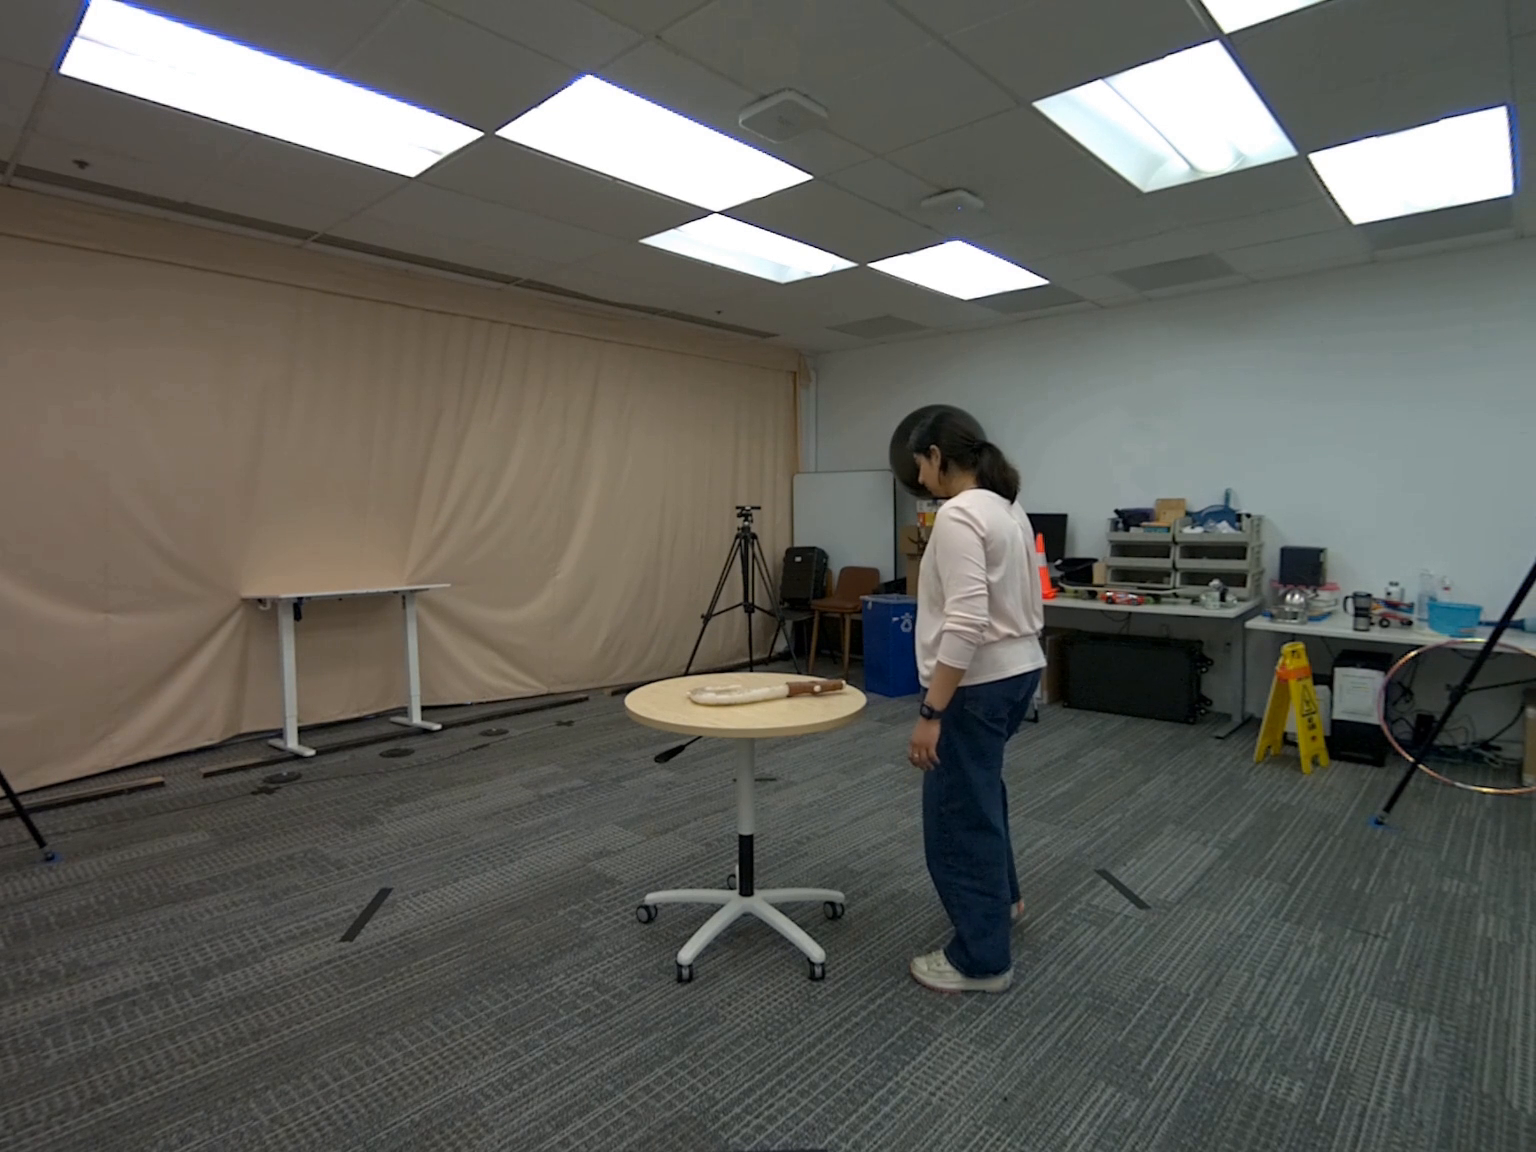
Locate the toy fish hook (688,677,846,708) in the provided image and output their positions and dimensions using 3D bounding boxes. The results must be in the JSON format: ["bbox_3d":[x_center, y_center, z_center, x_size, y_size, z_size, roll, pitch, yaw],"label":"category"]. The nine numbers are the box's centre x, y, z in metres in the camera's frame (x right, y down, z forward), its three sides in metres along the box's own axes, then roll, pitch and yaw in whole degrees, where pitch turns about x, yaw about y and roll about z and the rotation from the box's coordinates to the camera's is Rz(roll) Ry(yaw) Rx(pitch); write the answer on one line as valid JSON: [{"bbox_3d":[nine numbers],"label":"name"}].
[{"bbox_3d":[-0.003,0.365,2.693,0.500,0.048,0.228,-2,6,-13],"label":"toy fish hook"}]
